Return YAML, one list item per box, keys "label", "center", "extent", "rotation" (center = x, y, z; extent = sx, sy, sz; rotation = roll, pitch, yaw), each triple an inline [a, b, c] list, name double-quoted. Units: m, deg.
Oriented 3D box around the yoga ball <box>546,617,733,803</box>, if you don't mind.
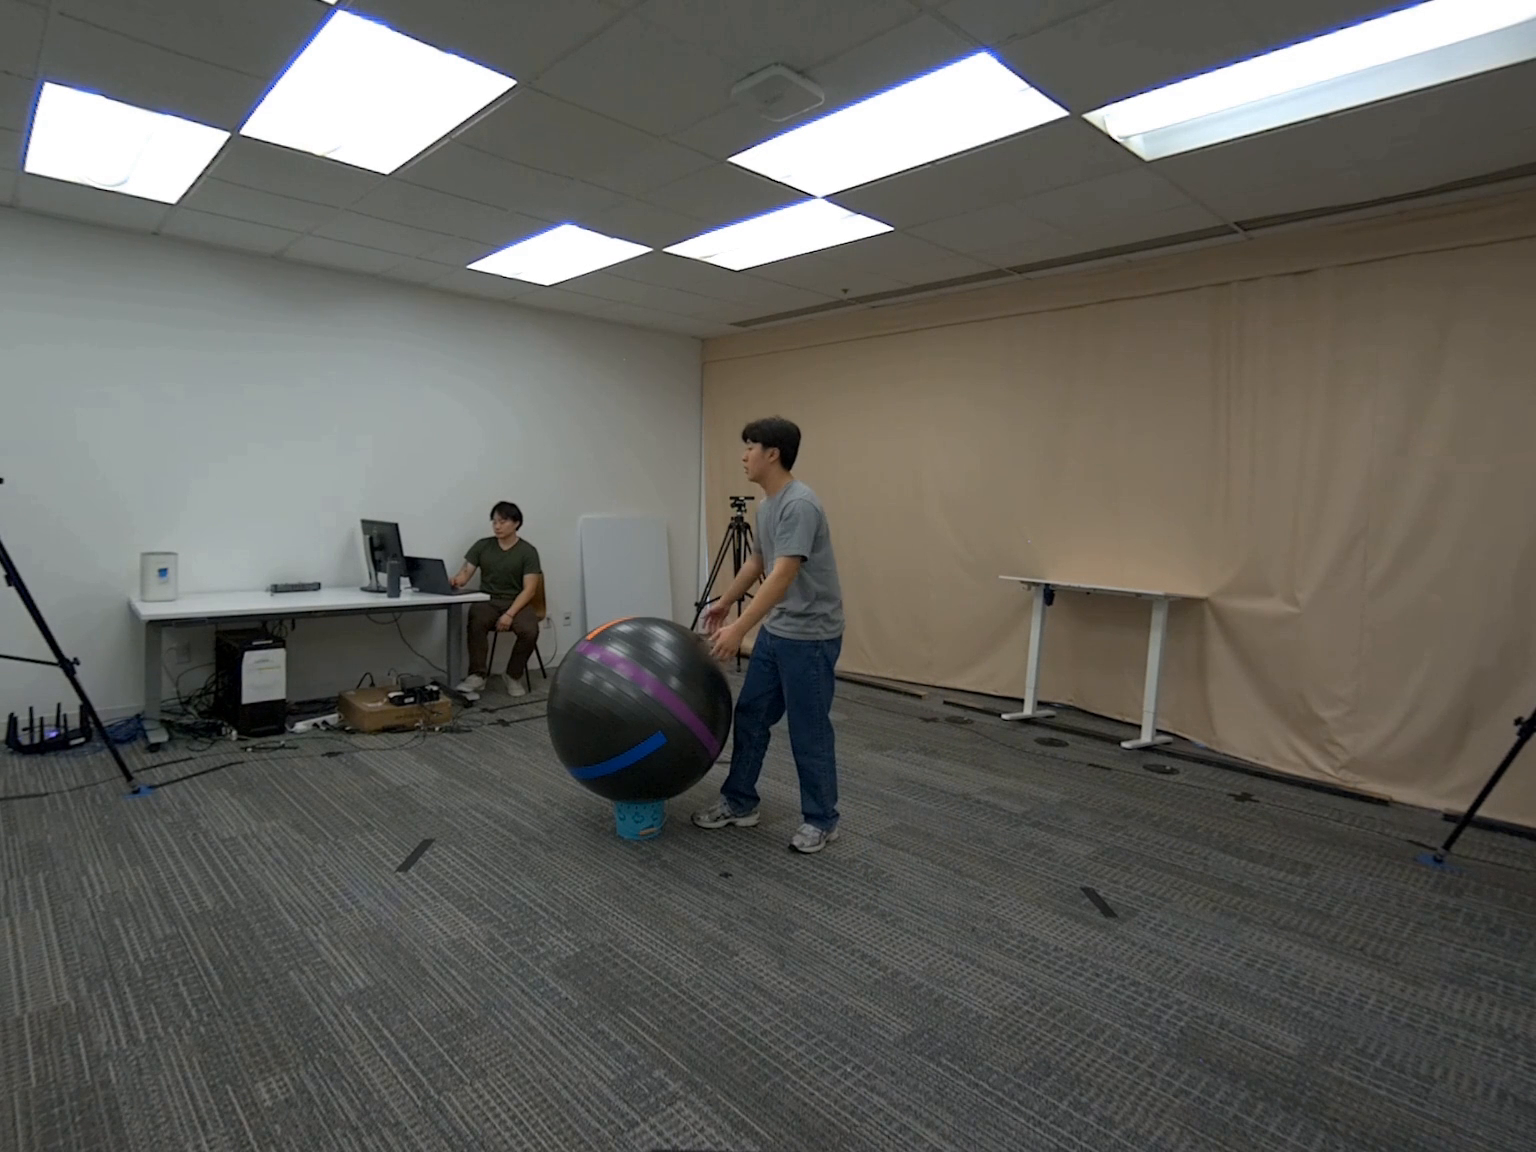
- label: "yoga ball"
  center: [-0.539, 0.554, 3.492]
  extent: [0.757, 0.756, 0.761]
  rotation: [1, 4, -1]
